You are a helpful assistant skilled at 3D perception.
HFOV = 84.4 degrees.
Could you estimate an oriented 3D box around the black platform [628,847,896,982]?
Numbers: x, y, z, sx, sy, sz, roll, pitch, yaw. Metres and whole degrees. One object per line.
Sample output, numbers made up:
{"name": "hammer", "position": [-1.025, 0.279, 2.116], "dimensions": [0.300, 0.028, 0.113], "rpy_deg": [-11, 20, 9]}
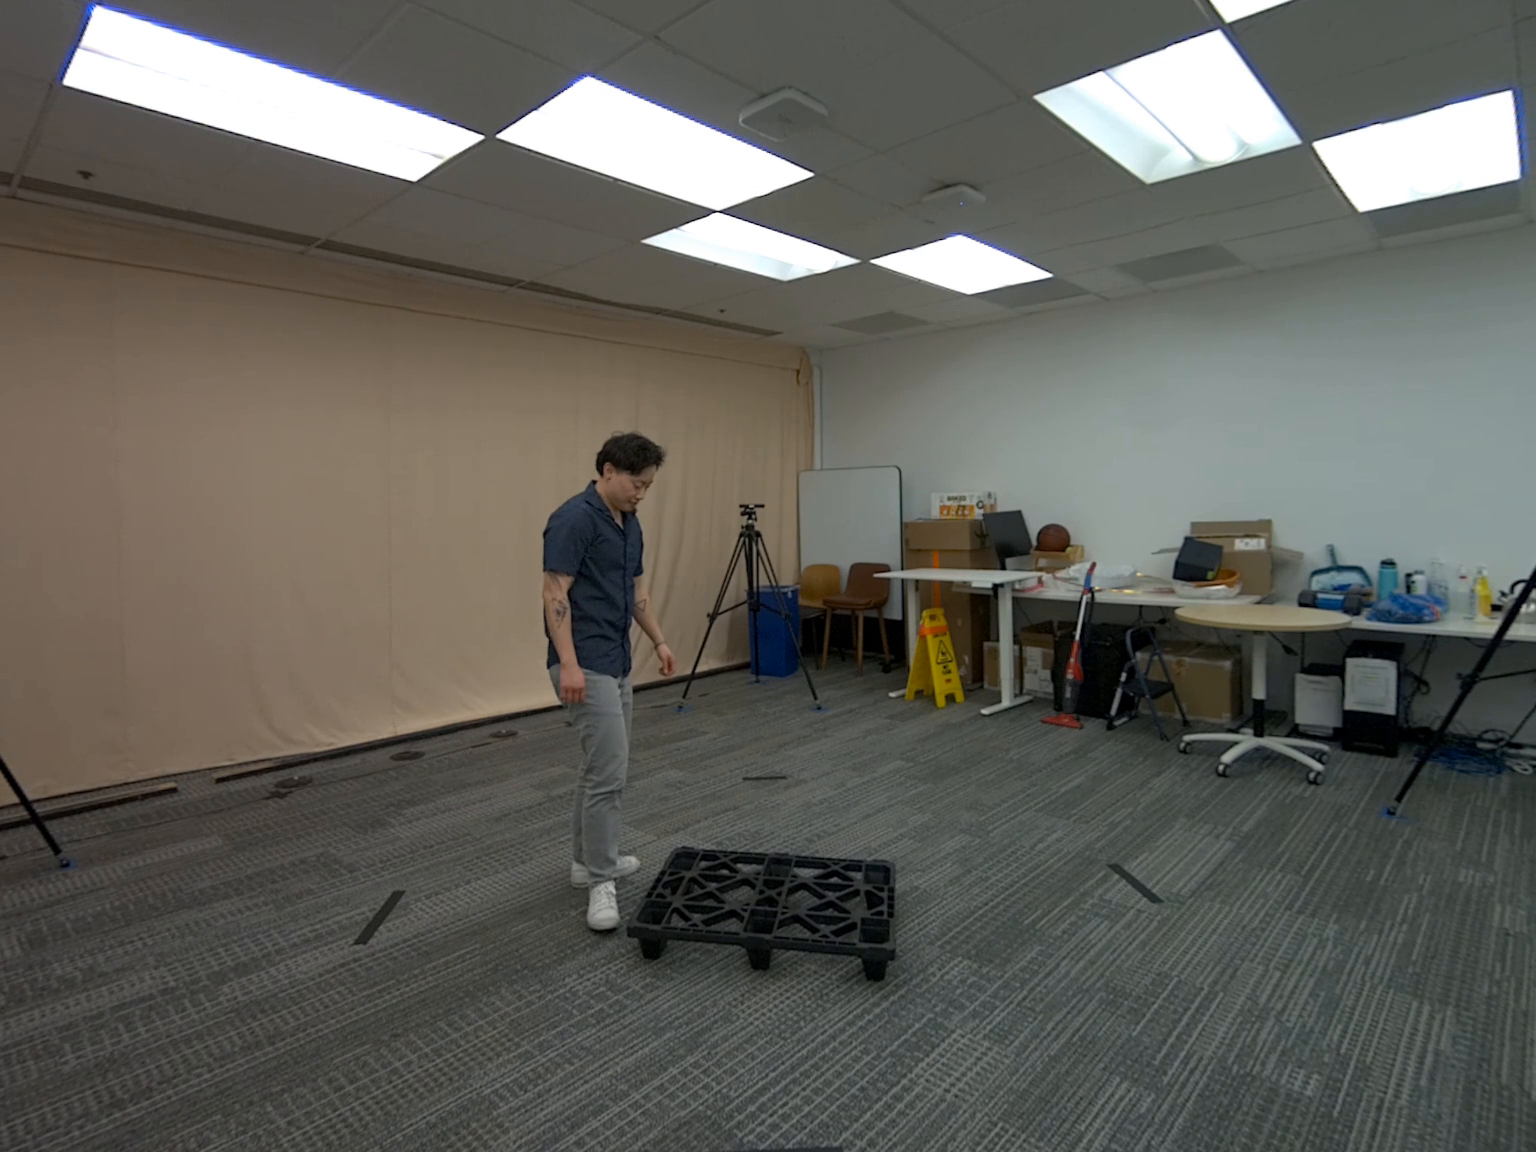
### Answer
{"name": "black platform", "position": [0.011, 1.091, 2.747], "dimensions": [0.816, 0.143, 0.599], "rpy_deg": [0, 5, 11]}
